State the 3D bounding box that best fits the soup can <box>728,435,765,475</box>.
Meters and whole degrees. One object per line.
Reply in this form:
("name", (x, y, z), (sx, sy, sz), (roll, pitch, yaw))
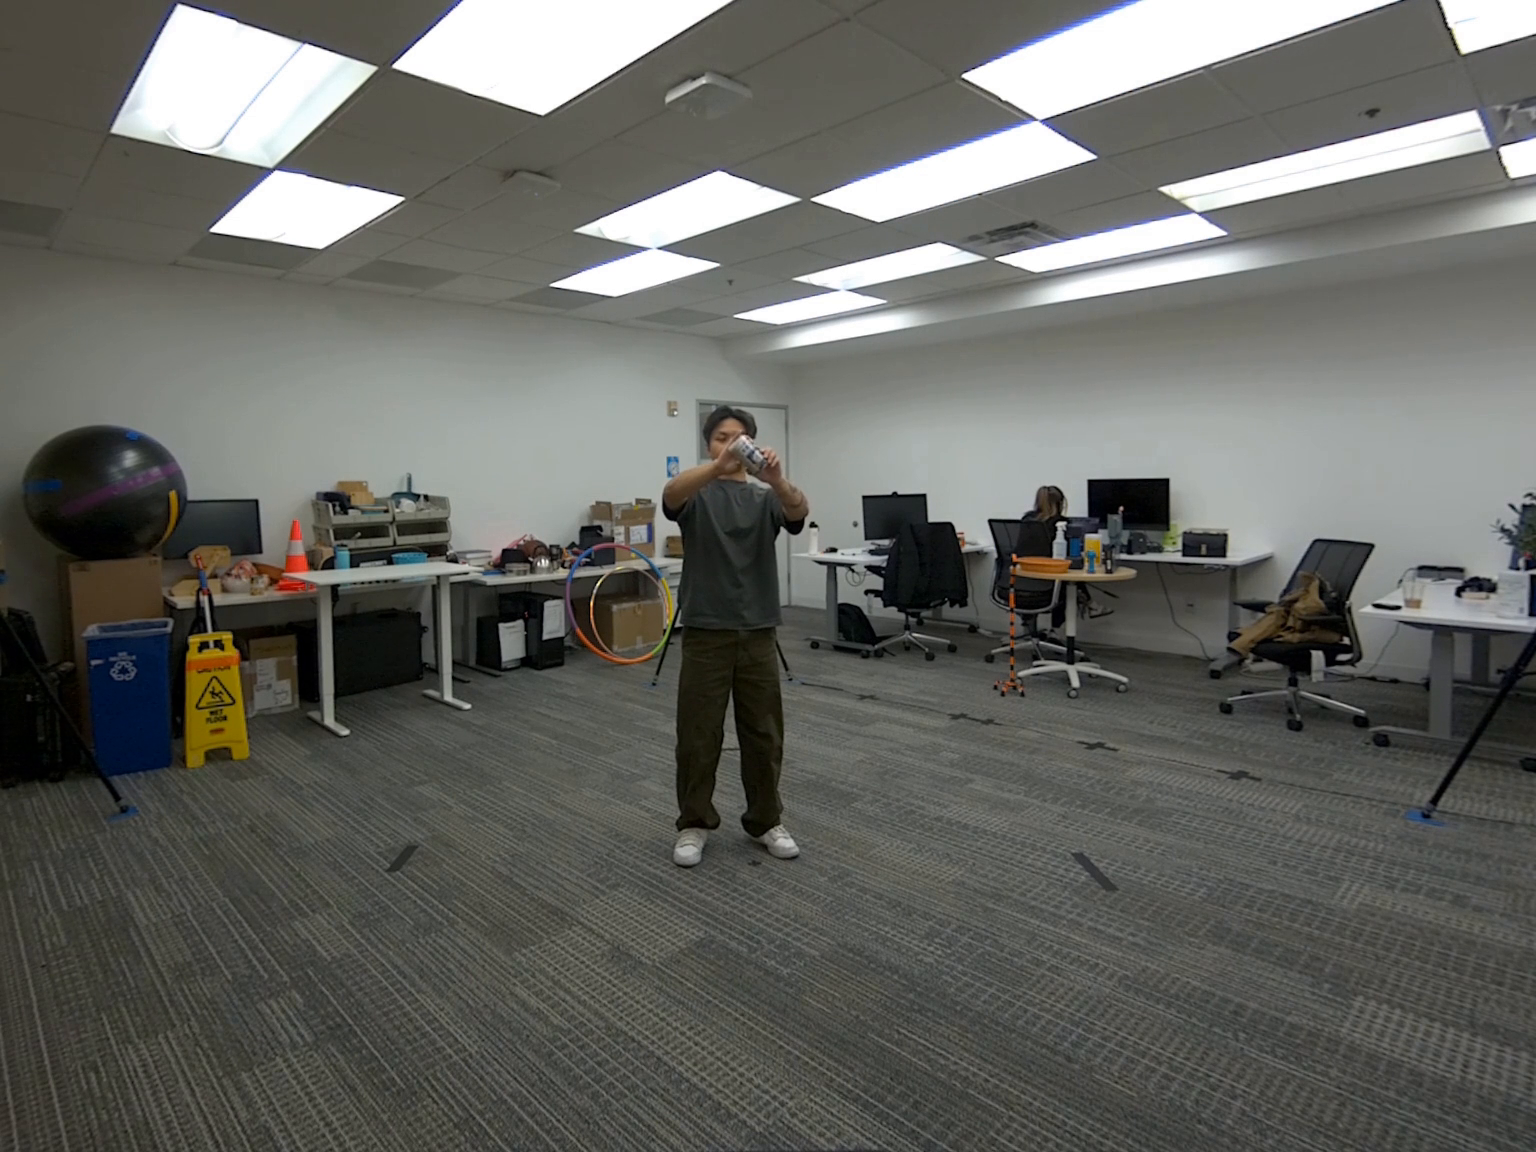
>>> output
("soup can", (-0.064, -0.381, 2.699), (0.067, 0.120, 0.068), (-29, 10, 4))
